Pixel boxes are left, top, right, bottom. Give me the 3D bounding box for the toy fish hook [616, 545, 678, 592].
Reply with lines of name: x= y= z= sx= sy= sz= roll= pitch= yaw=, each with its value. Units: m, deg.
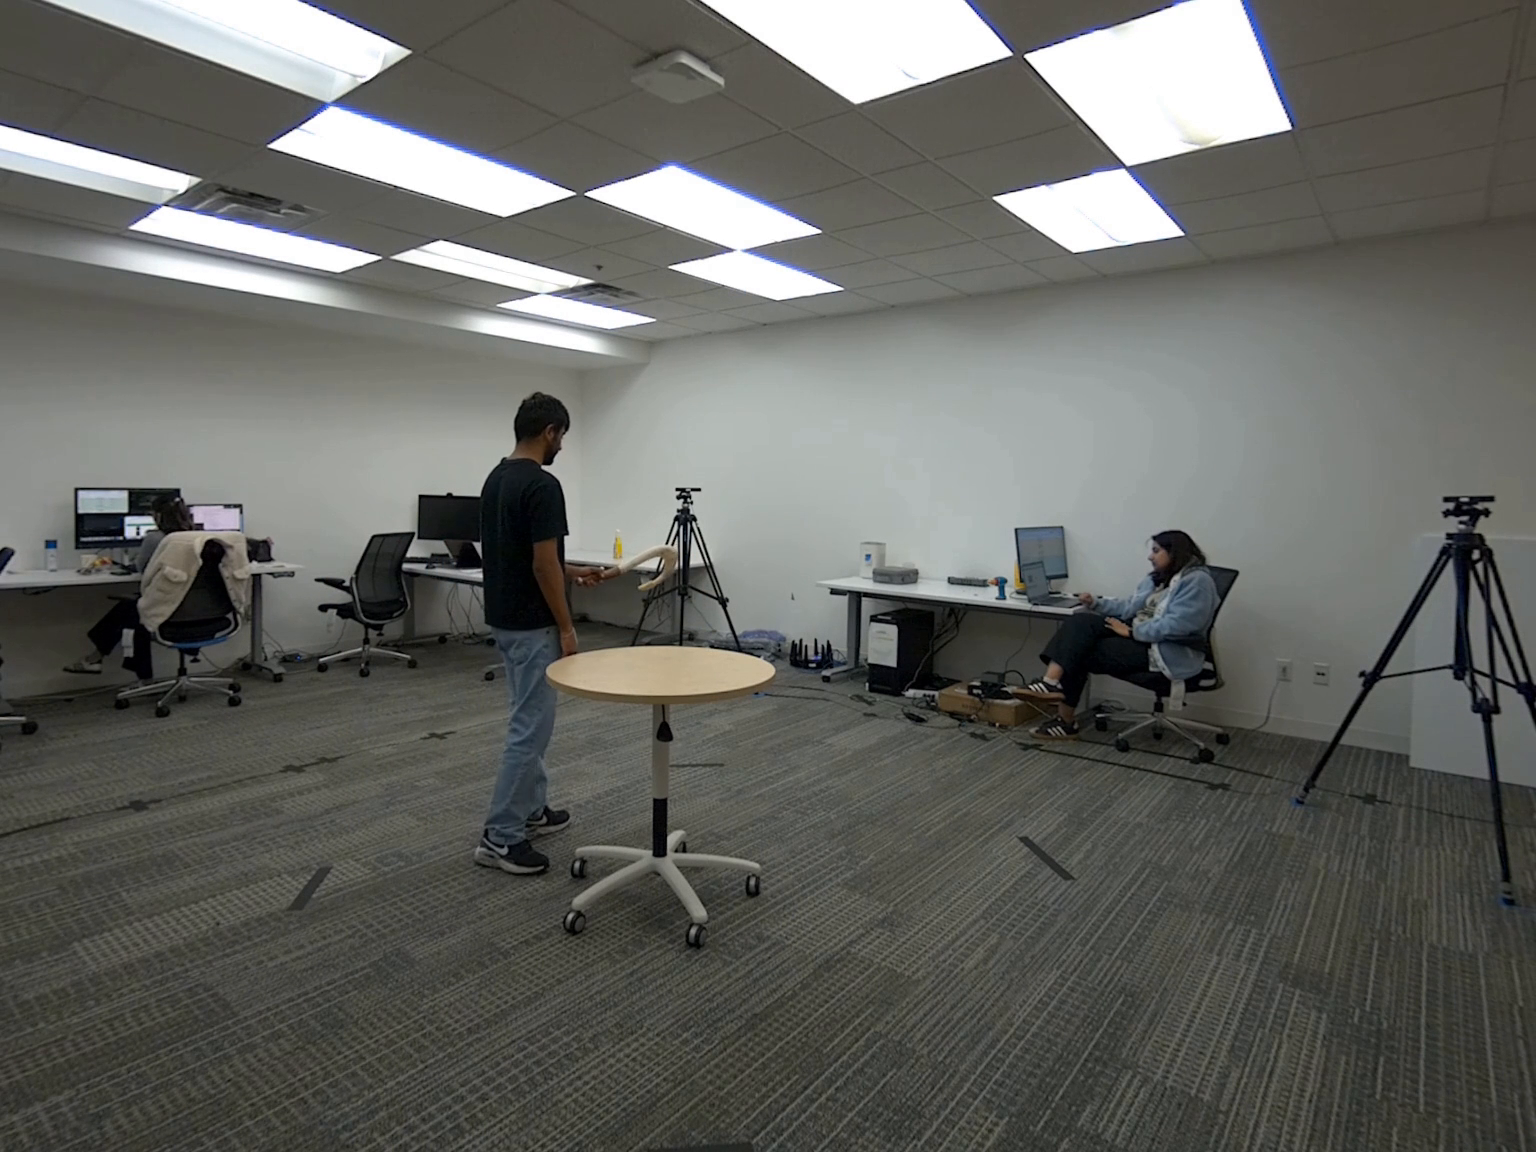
toy fish hook: x=-0.610 y=-0.006 z=3.694 sx=0.497 sy=0.219 sz=0.050 roll=-21 pitch=39 yaw=-32
